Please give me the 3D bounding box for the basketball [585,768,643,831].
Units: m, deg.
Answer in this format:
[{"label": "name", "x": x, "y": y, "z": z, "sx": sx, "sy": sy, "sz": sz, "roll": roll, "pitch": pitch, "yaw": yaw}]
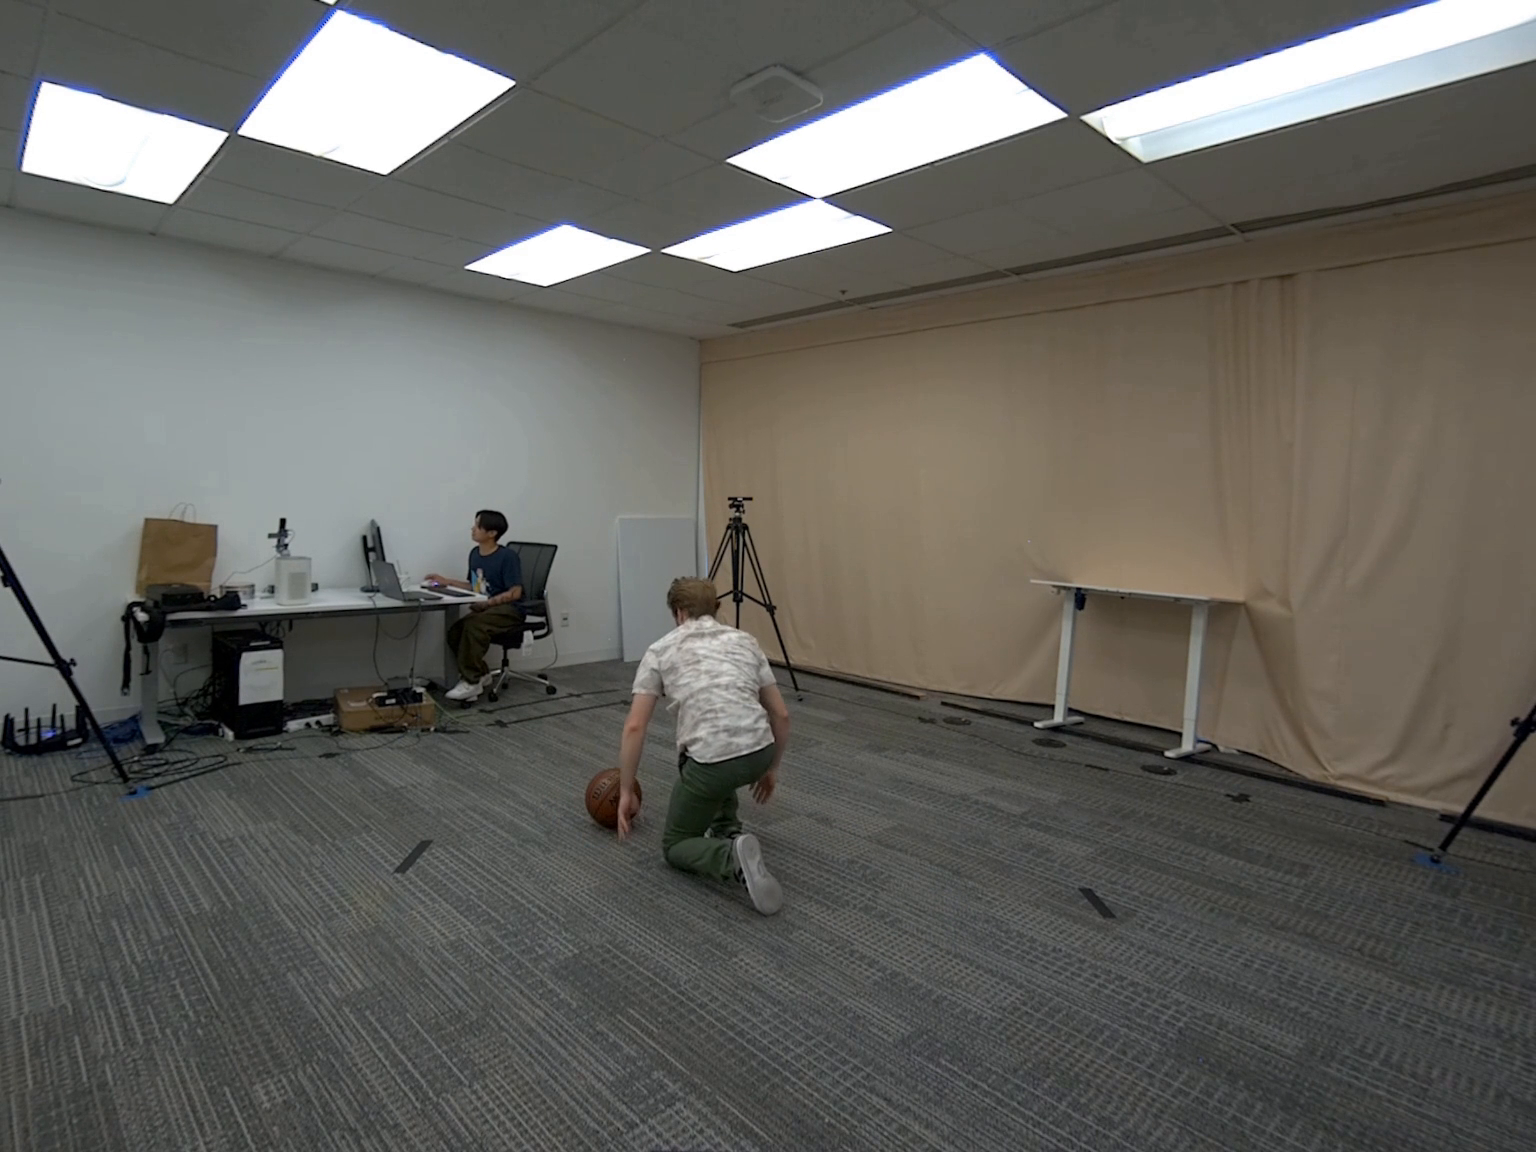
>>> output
[{"label": "basketball", "x": -0.658, "y": 0.929, "z": 3.558, "sx": 0.236, "sy": 0.235, "sz": 0.237, "roll": 1, "pitch": 4, "yaw": -1}]
